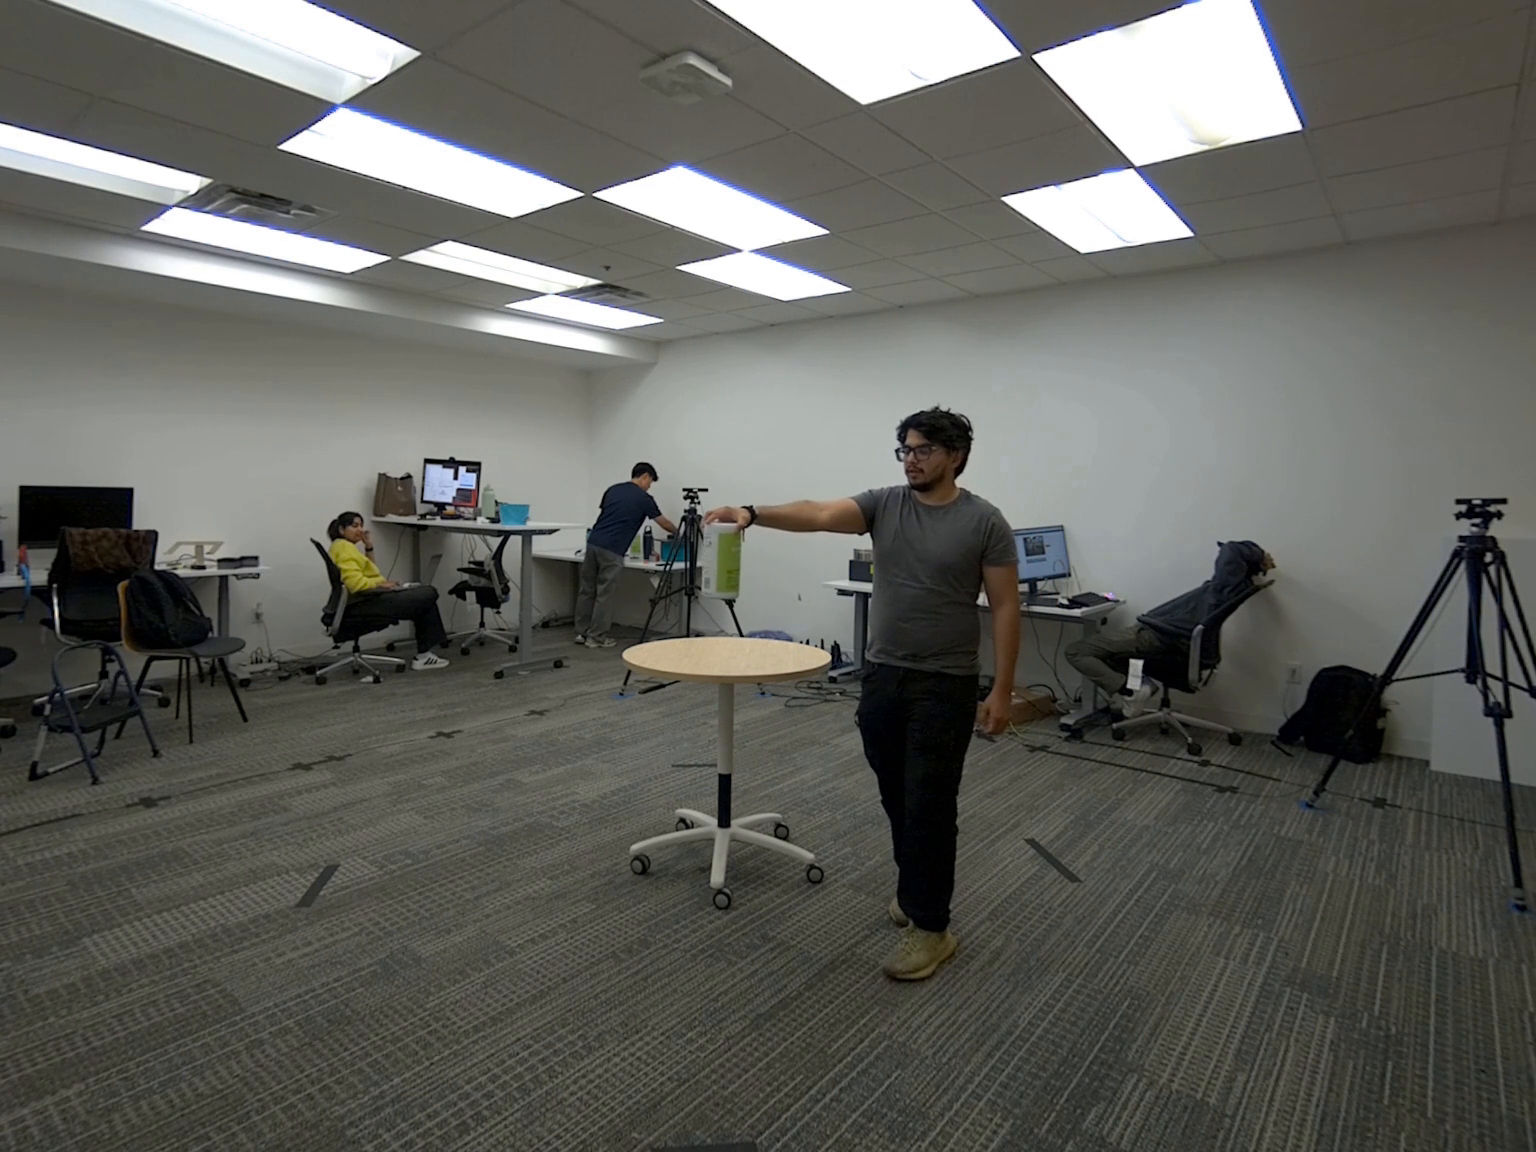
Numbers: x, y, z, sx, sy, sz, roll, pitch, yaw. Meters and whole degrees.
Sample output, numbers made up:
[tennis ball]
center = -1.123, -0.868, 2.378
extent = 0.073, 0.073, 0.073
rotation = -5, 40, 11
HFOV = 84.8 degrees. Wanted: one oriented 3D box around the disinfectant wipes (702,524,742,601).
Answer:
[disinfectant wipes]
center = -0.139, -0.050, 2.446
extent = 0.117, 0.216, 0.118
rotation = 1, 5, -2
